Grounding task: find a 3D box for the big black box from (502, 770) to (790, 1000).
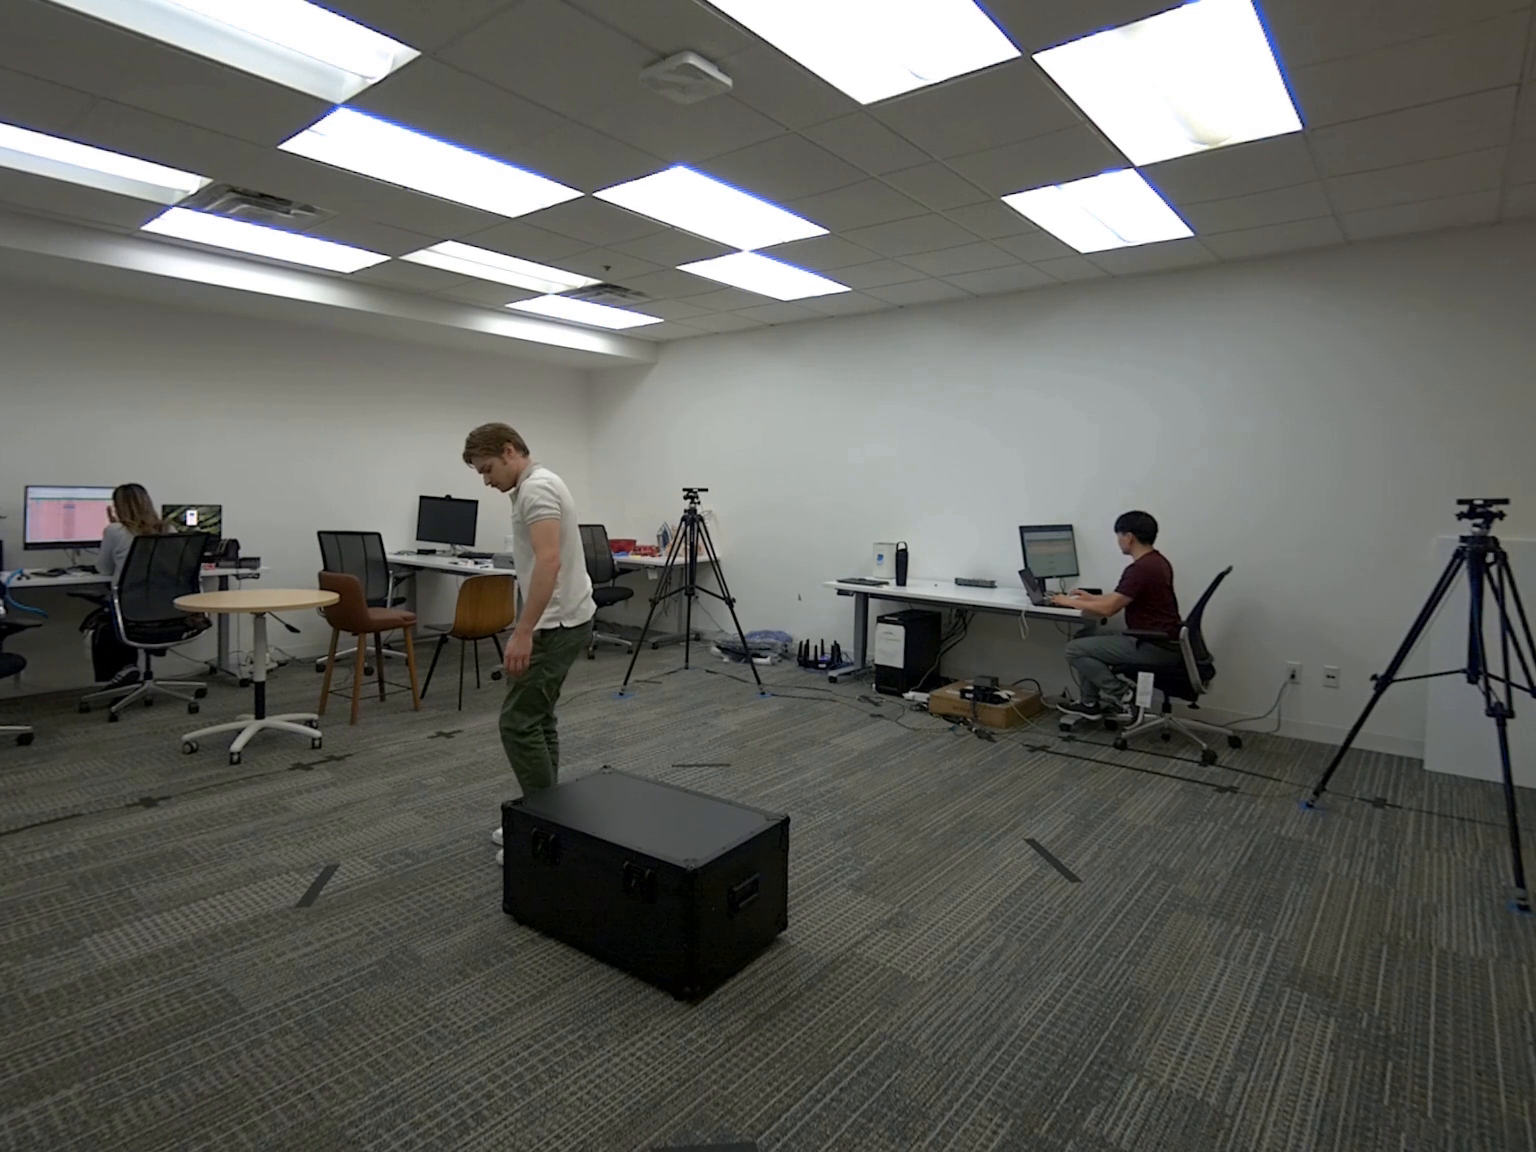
[{"bbox_3d":[-0.429,0.908,2.702,0.896,0.384,0.509,4,6,35],"label":"big black box"}]
